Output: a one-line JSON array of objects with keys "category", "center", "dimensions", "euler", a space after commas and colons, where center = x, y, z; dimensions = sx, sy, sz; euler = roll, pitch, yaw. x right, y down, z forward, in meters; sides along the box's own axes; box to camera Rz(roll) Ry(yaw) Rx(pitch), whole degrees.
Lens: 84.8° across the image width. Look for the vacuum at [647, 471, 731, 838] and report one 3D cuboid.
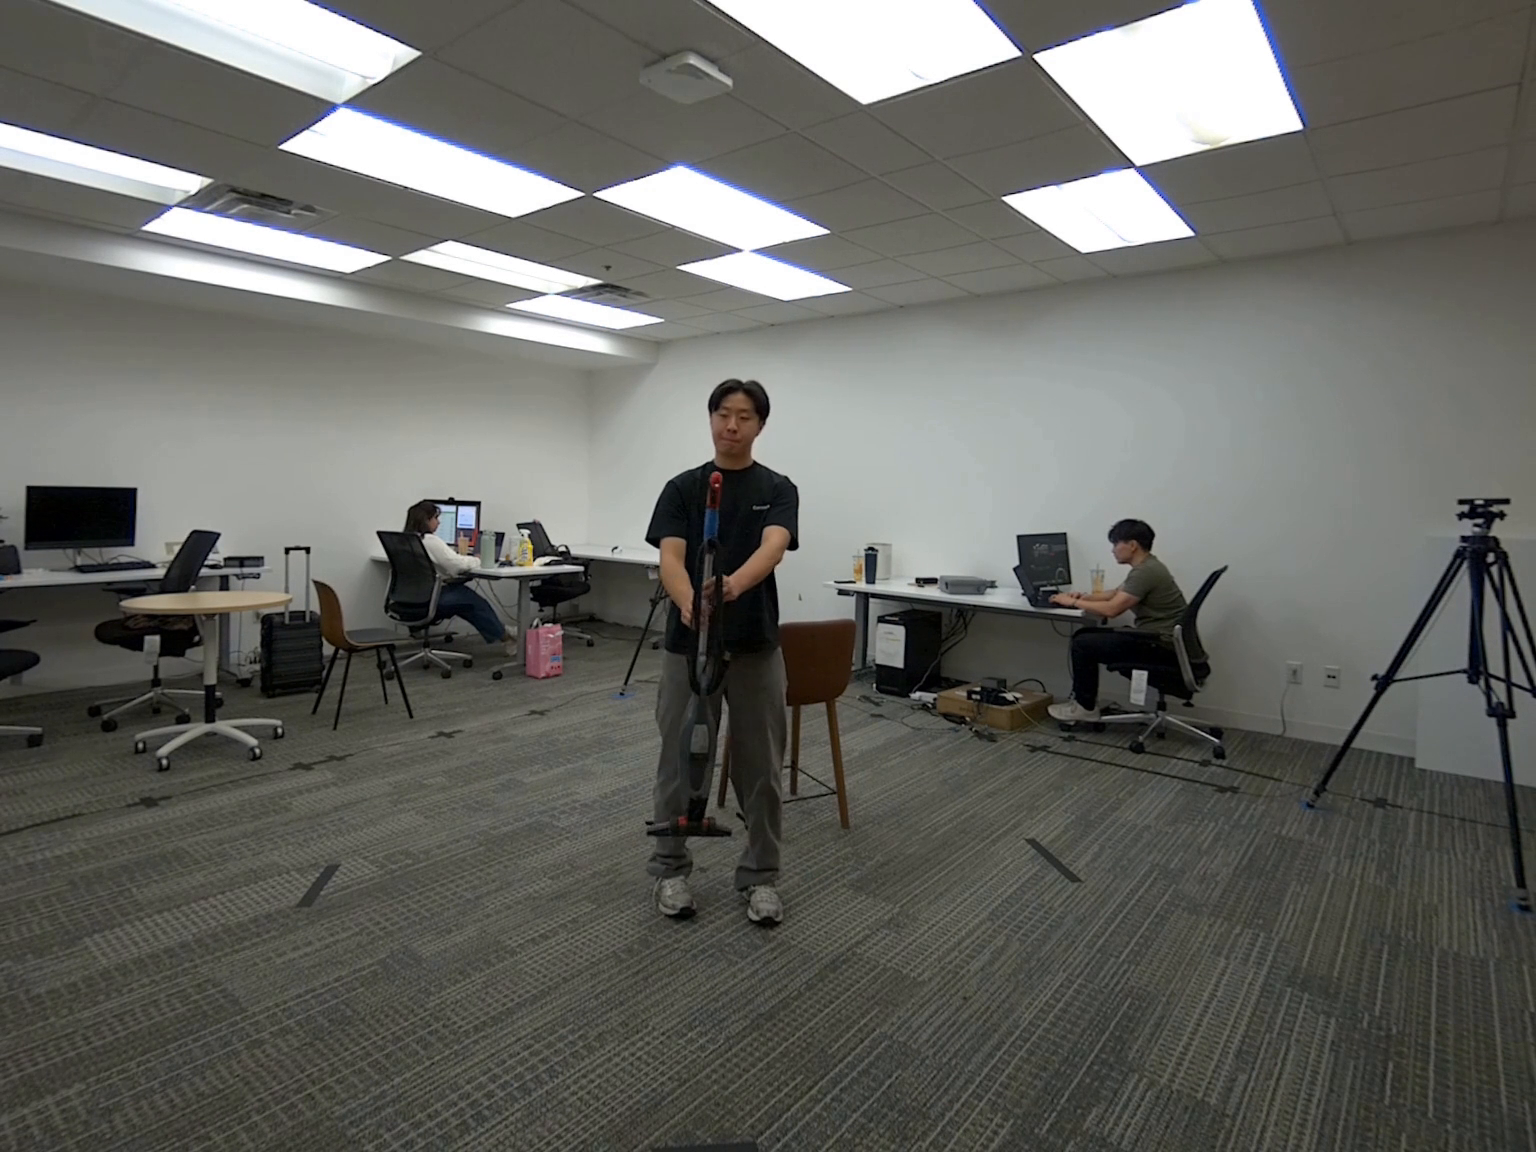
[{"category": "vacuum", "center": [-0.190, 0.240, 2.396], "dimensions": [0.249, 1.038, 0.148], "euler": [2, 12, -14]}]
